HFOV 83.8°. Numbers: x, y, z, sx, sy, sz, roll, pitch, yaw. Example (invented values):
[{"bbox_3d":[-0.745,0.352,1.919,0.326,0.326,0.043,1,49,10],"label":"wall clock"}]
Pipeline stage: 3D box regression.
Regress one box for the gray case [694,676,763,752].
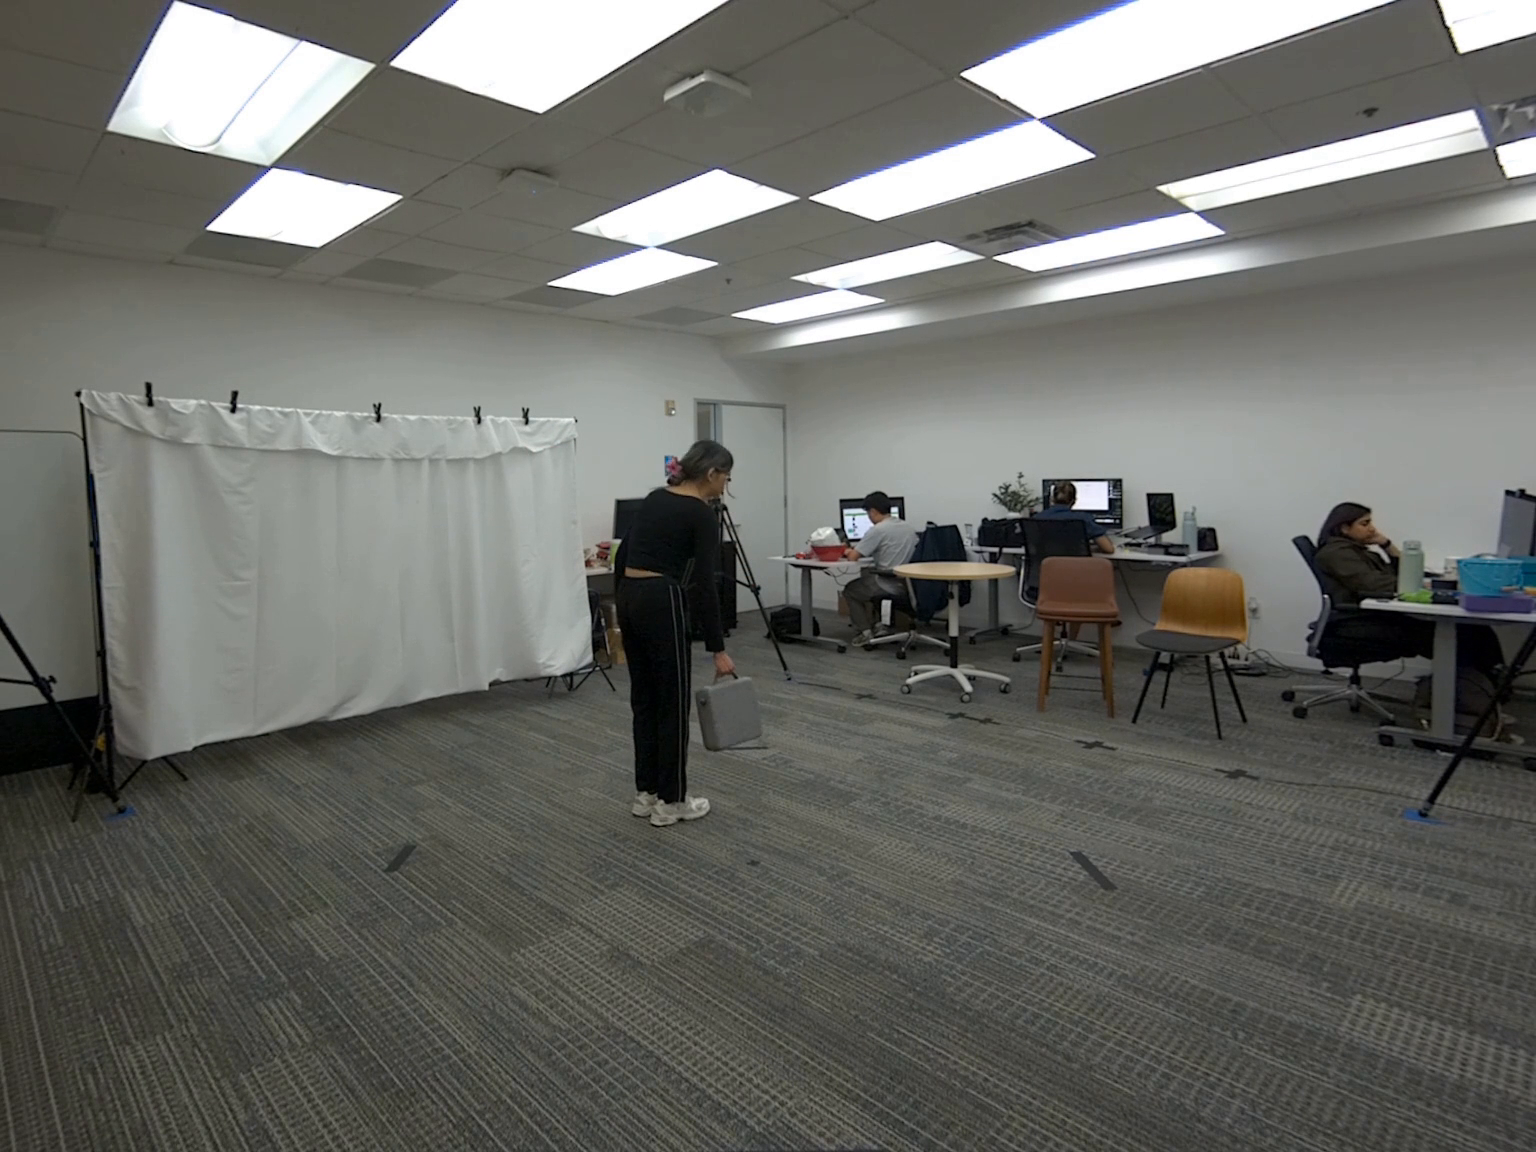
[{"bbox_3d":[-0.154,0.545,3.431,0.251,0.261,0.107,-9,1,-39],"label":"gray case"}]
